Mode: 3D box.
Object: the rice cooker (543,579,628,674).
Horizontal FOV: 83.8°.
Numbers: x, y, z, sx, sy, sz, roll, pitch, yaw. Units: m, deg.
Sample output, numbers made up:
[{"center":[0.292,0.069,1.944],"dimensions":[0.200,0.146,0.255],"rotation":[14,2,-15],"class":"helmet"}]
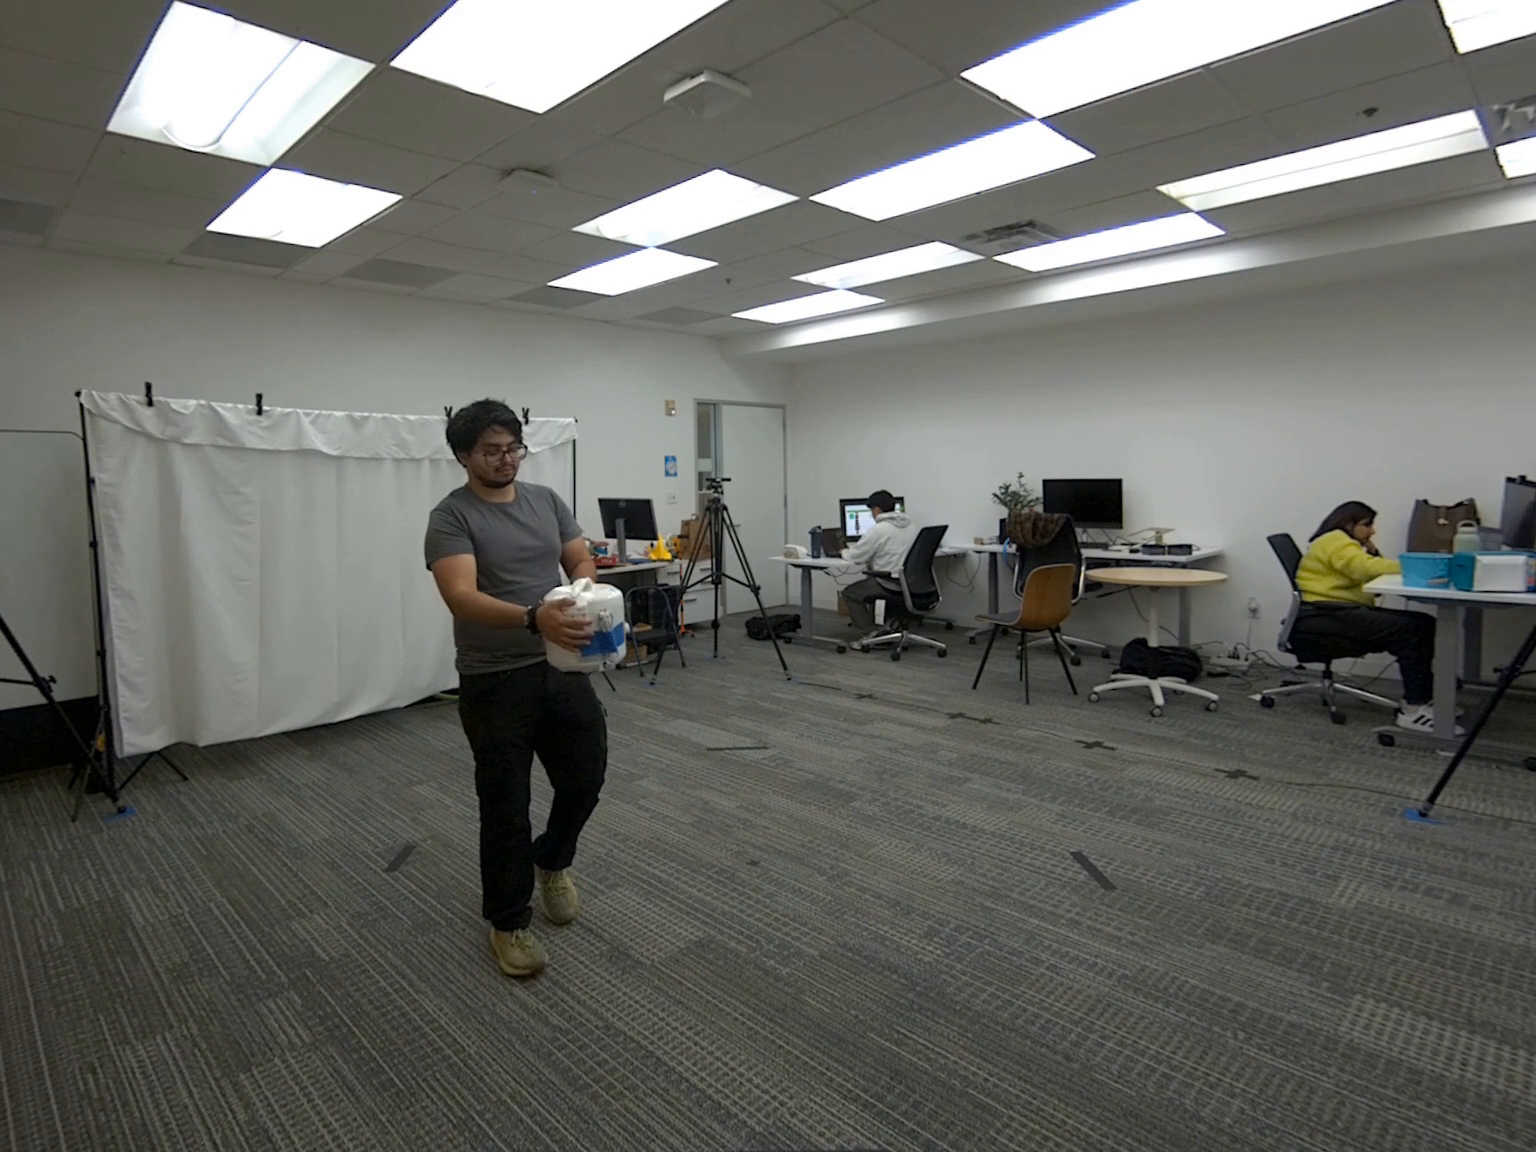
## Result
[{"center":[-0.494,0.127,2.272],"dimensions":[0.218,0.231,0.221],"rotation":[-1,7,5],"class":"rice cooker"}]
